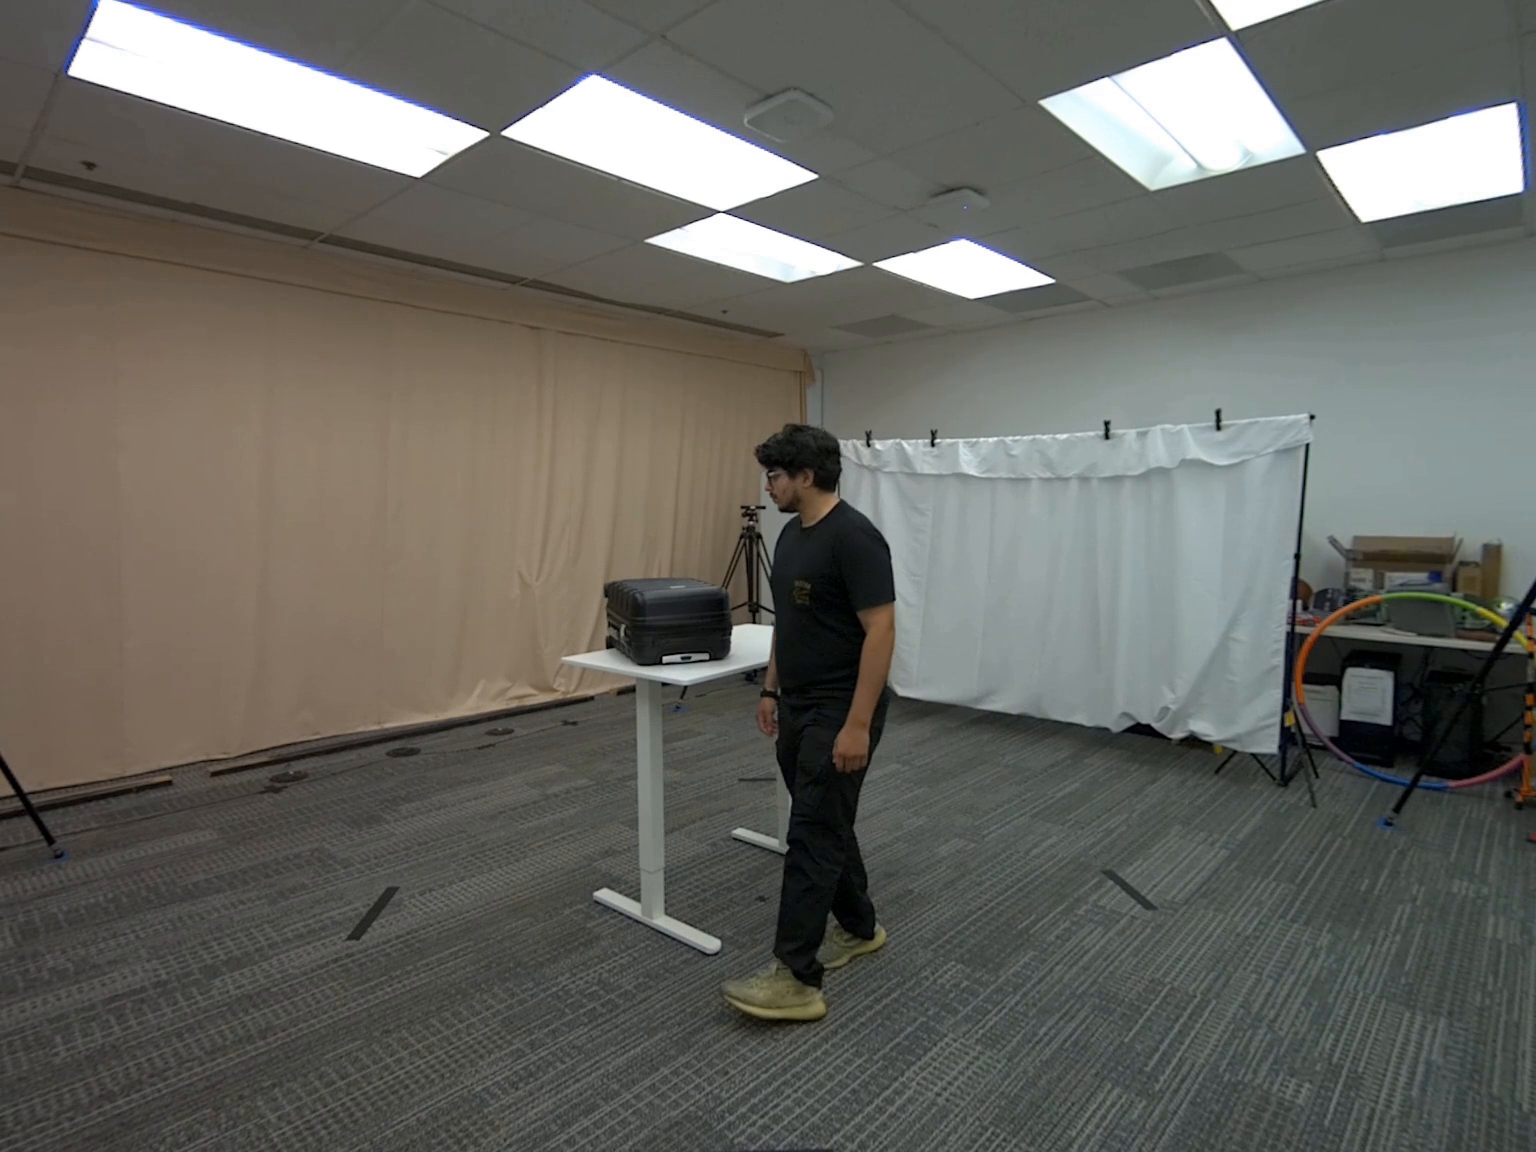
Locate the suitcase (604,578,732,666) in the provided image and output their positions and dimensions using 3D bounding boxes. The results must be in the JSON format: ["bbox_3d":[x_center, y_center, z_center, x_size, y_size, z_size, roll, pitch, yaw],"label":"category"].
[{"bbox_3d":[-0.353,0.151,2.956,0.368,0.248,0.561,-2,5,-20],"label":"suitcase"}]
